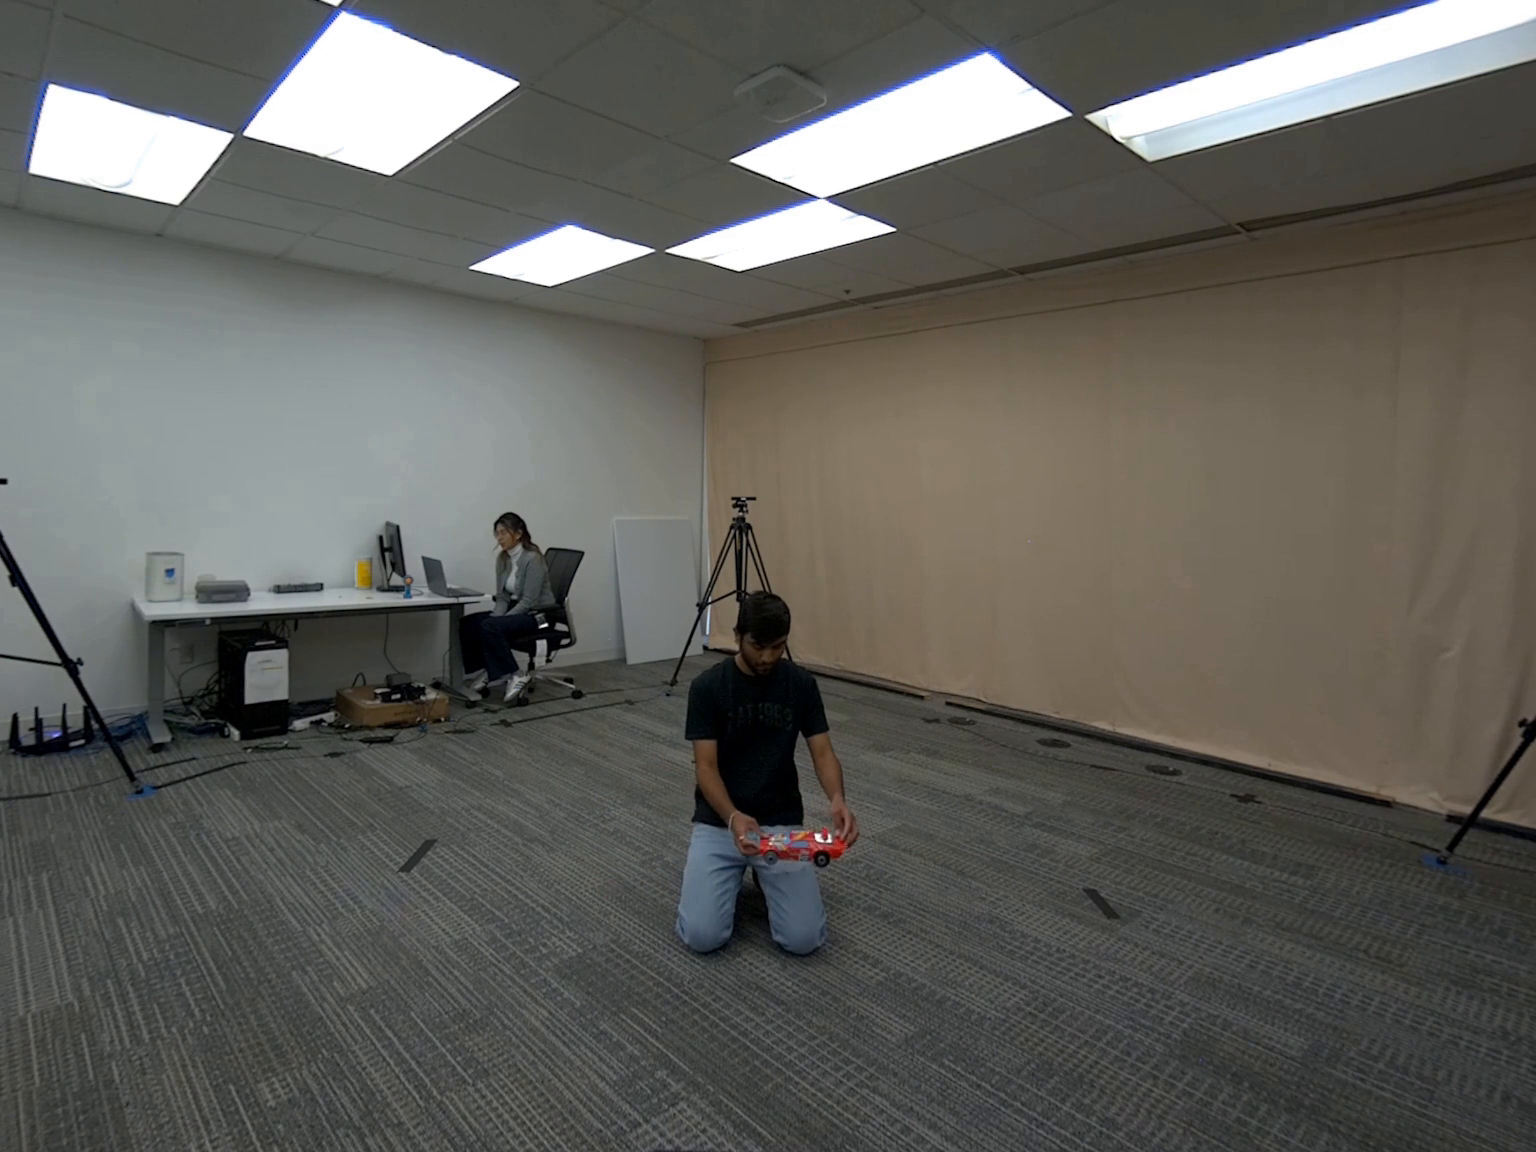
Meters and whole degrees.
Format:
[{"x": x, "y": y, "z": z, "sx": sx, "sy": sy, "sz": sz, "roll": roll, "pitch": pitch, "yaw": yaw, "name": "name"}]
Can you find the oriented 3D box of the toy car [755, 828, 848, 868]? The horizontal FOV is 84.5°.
[{"x": 0.090, "y": 0.799, "z": 2.450, "sx": 0.255, "sy": 0.083, "sz": 0.130, "roll": -10, "pitch": 5, "yaw": 4, "name": "toy car"}]
